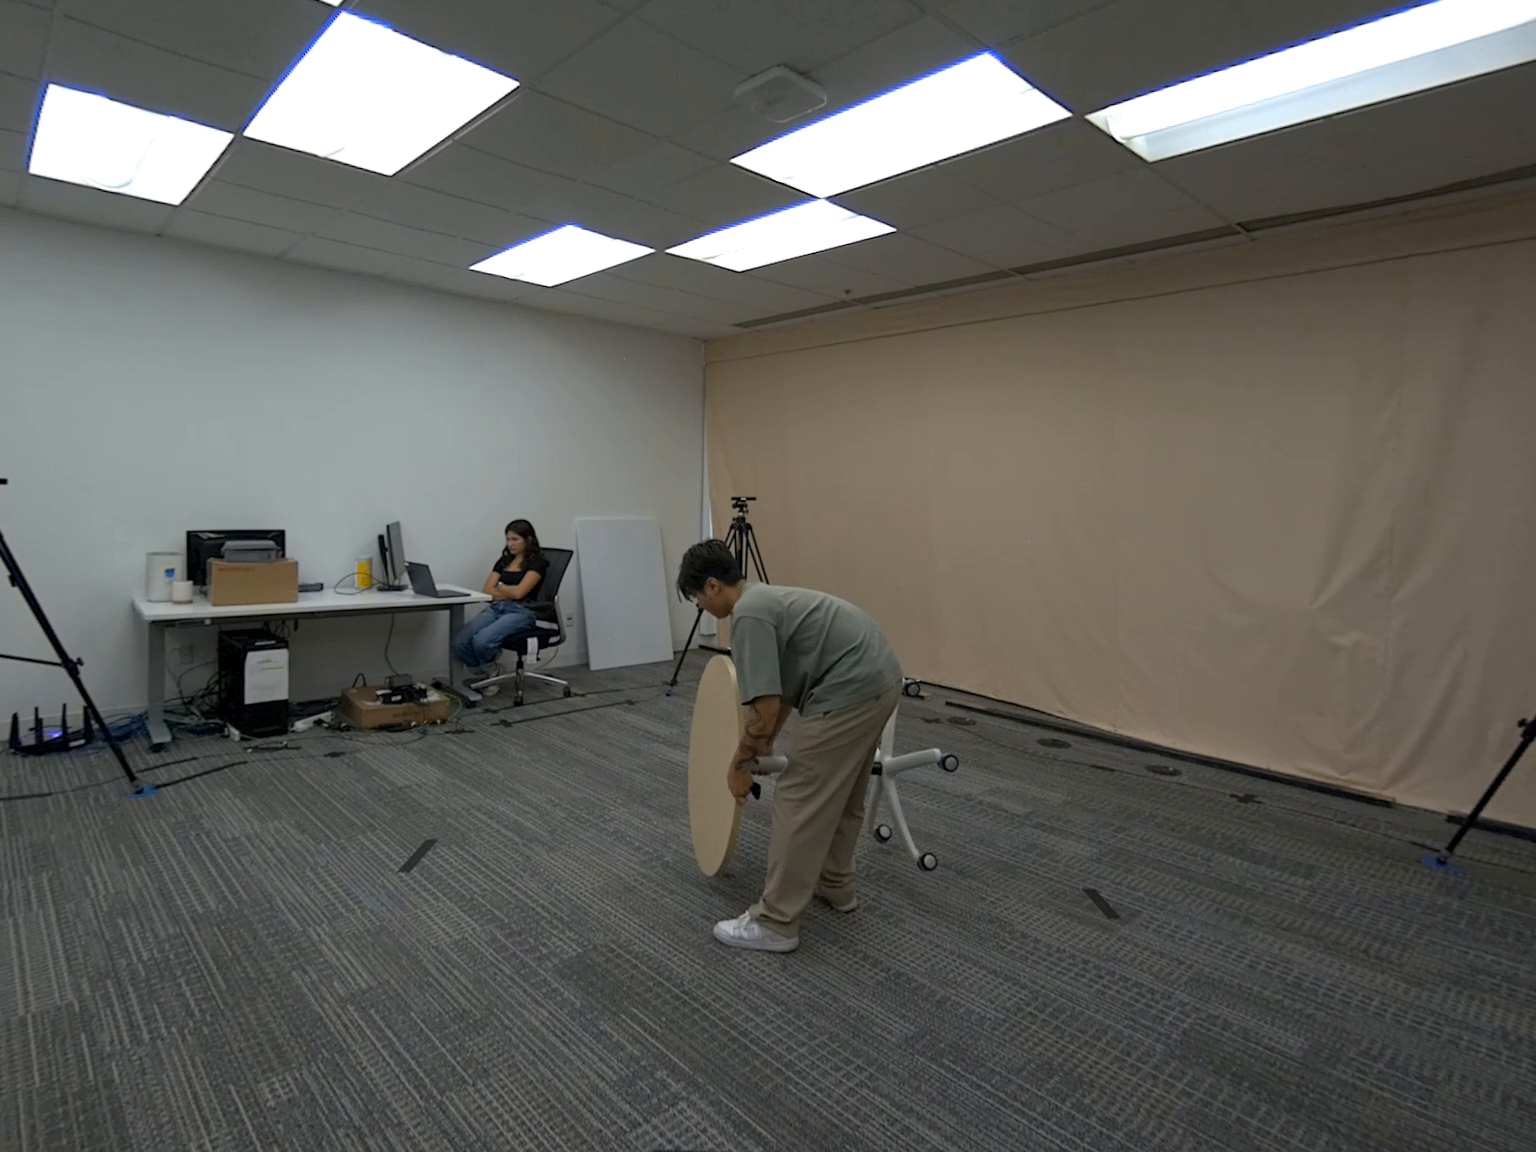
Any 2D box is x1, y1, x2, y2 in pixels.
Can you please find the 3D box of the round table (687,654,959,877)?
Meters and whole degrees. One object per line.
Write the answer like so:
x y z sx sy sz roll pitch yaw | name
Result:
0.174 0.713 3.129 0.777 0.784 0.796 7 3 -15 | round table
